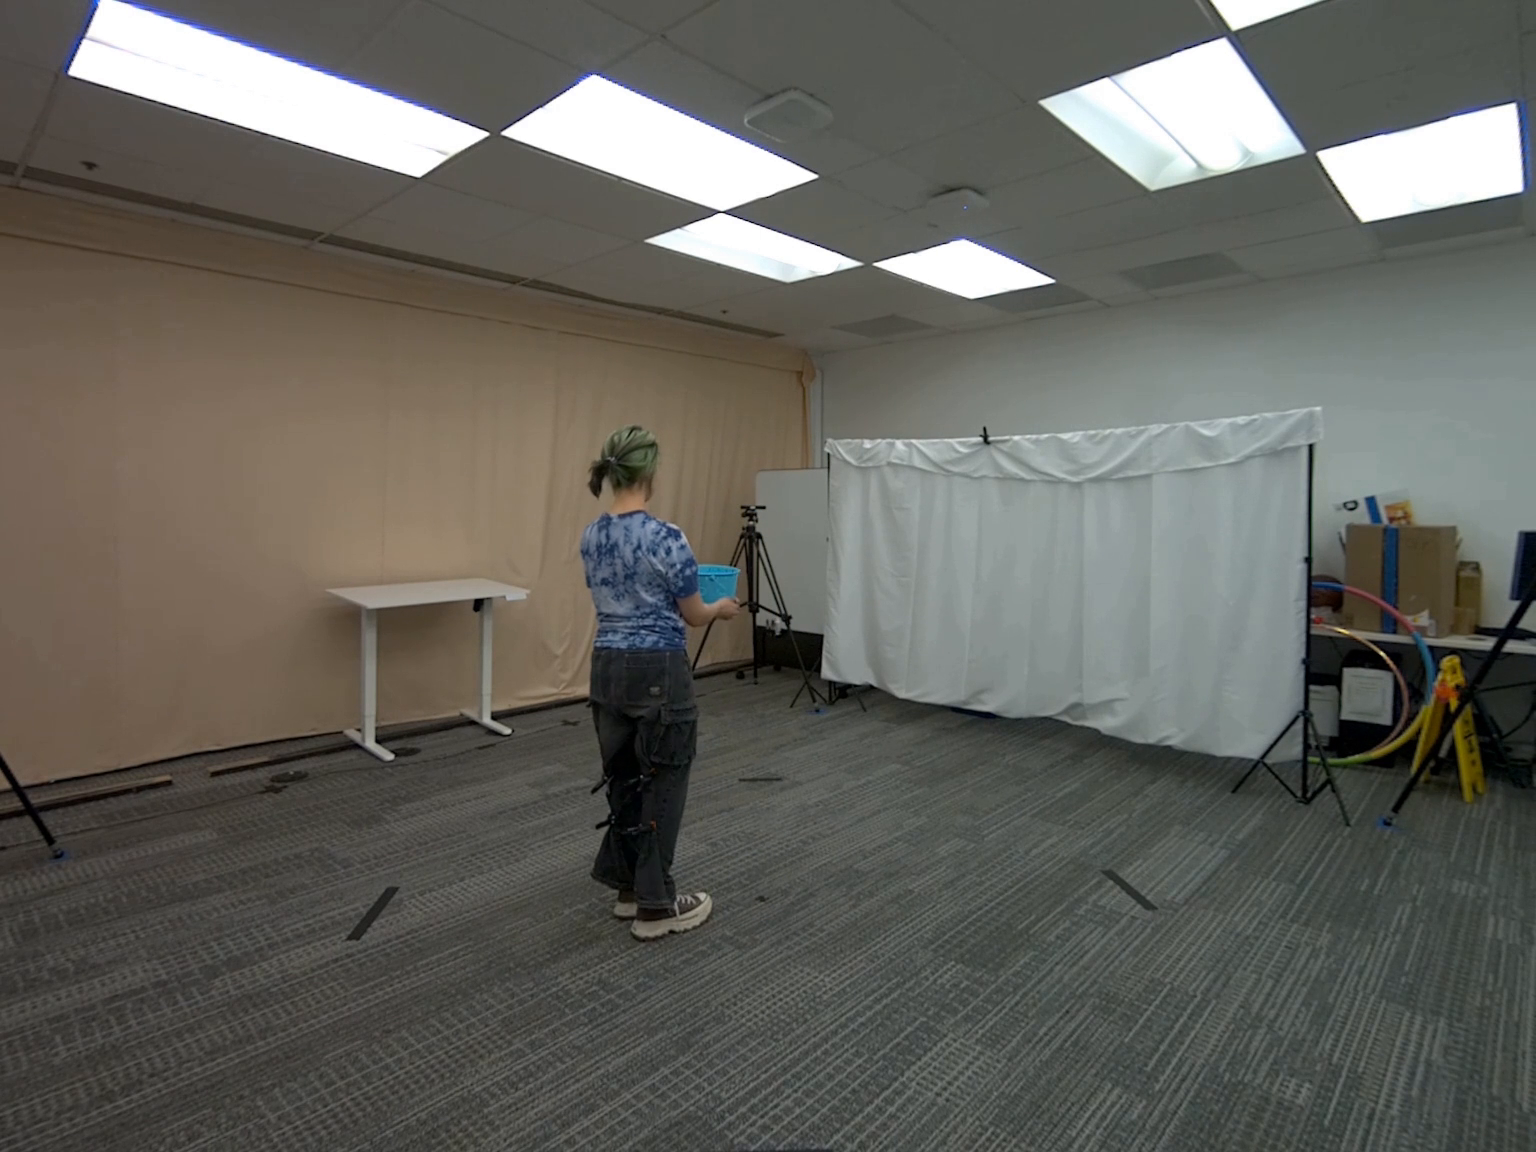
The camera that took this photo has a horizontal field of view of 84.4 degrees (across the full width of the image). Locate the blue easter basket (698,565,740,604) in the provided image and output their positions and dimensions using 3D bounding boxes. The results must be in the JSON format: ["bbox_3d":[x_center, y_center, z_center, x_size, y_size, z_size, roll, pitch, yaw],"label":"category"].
[{"bbox_3d":[-0.220,0.053,3.136,0.243,0.155,0.245,2,8,-2],"label":"blue easter basket"}]
